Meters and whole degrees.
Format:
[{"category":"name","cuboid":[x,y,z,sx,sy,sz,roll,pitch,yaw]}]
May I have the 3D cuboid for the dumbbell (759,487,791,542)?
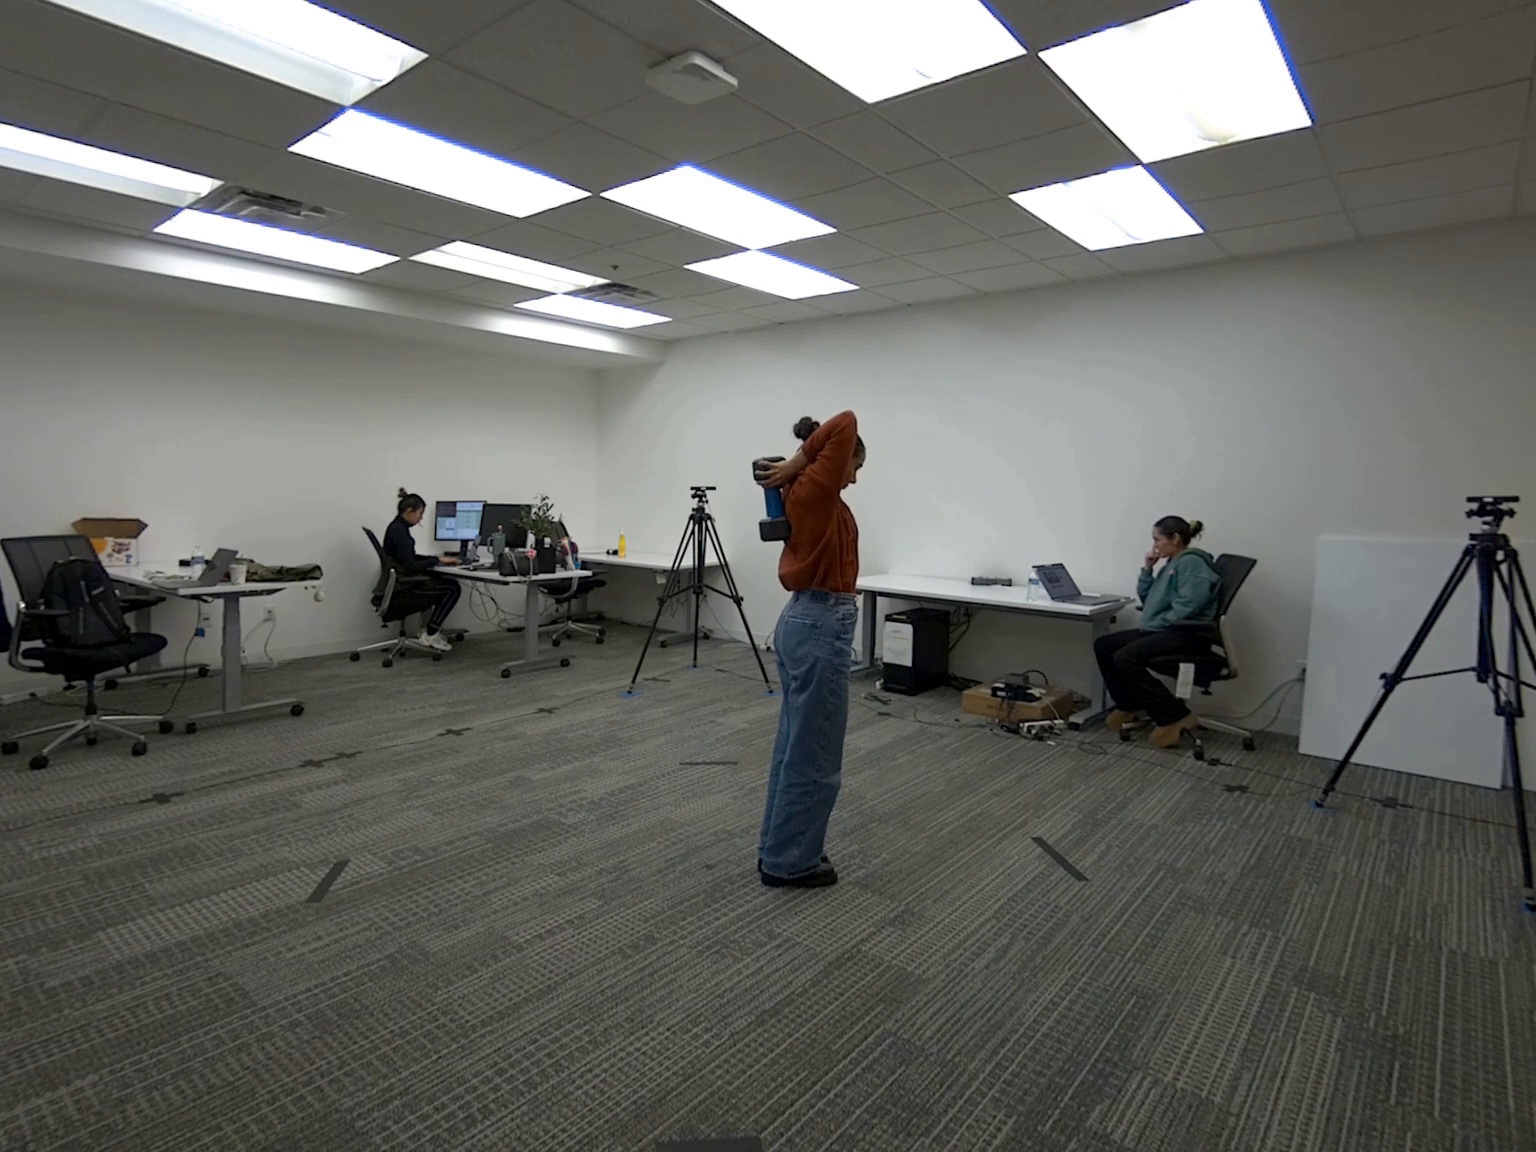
[{"category":"dumbbell","cuboid":[0.011,-0.274,2.986,0.121,0.293,0.110,-2,1,-13]}]
